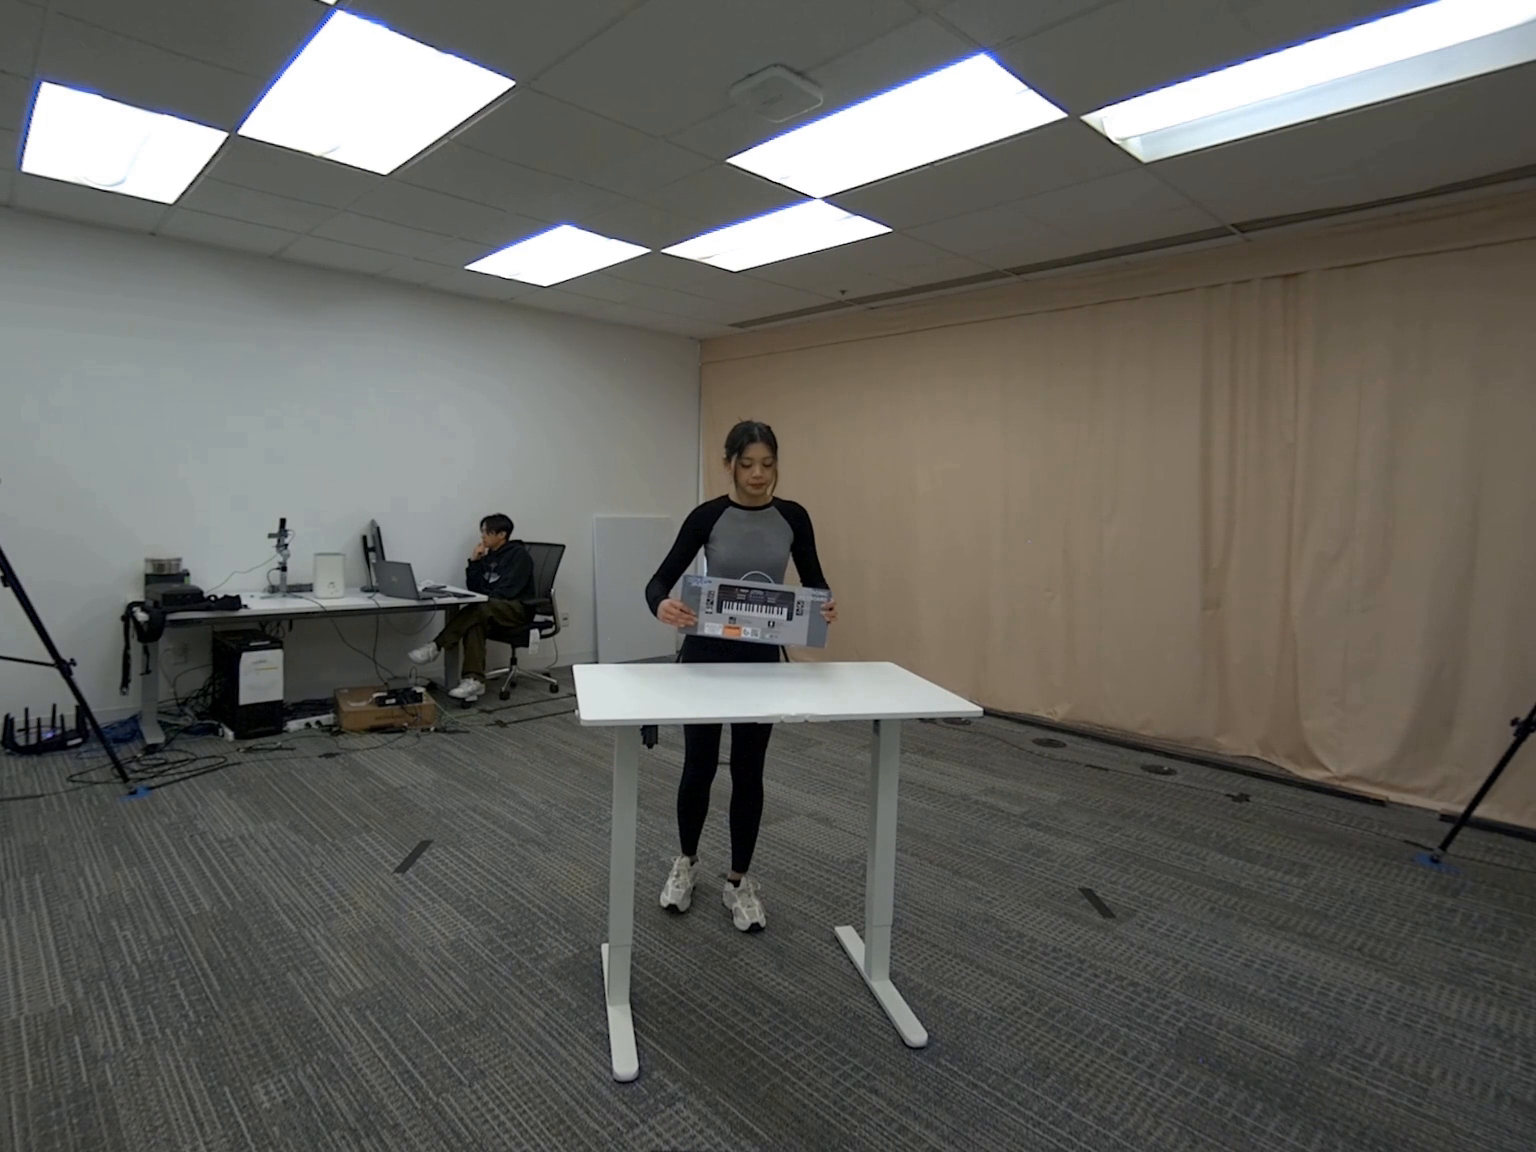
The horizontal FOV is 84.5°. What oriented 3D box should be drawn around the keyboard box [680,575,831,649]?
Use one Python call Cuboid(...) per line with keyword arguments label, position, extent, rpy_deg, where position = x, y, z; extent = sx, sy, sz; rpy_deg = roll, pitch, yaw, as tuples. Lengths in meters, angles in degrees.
Cuboid(label="keyboard box", position=(-0.052, 0.104, 2.483), extent=(0.435, 0.176, 0.059), rpy_deg=(9, -3, -4))
